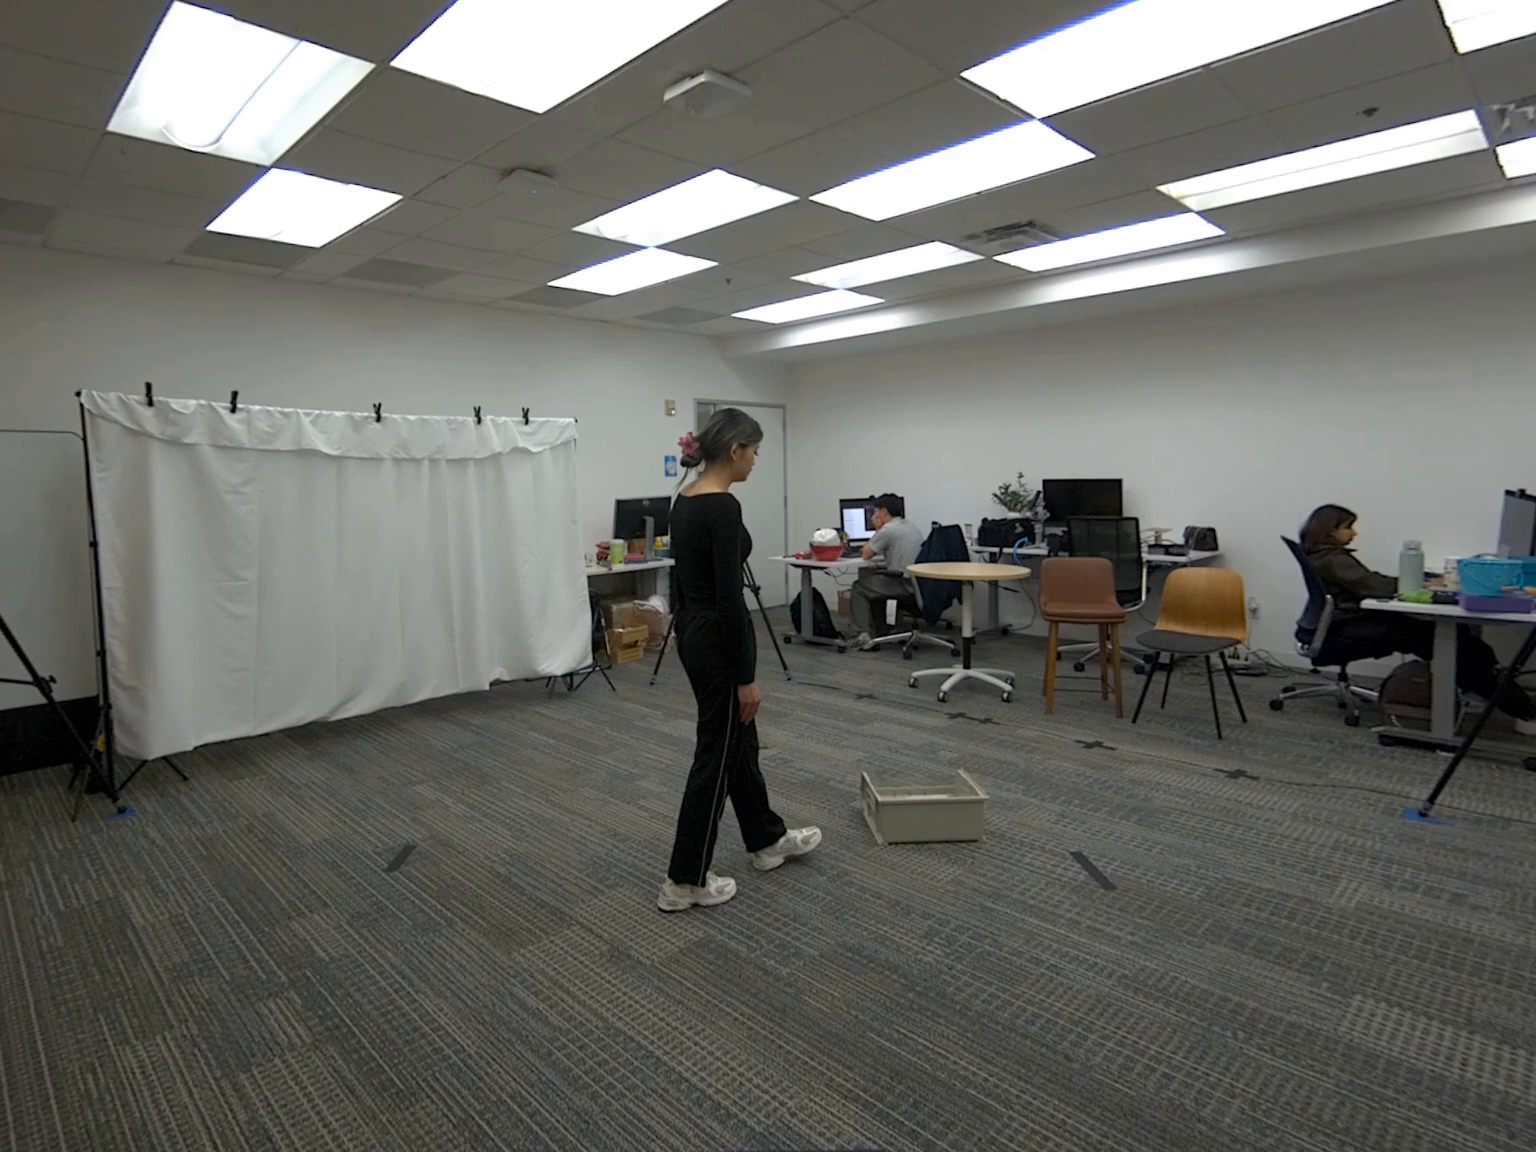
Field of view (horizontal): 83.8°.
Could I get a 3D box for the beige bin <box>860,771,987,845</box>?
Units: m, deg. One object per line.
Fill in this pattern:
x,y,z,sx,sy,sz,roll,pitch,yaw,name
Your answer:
0.614,0.909,3.410,0.421,0.188,0.380,-1,6,-4,beige bin
